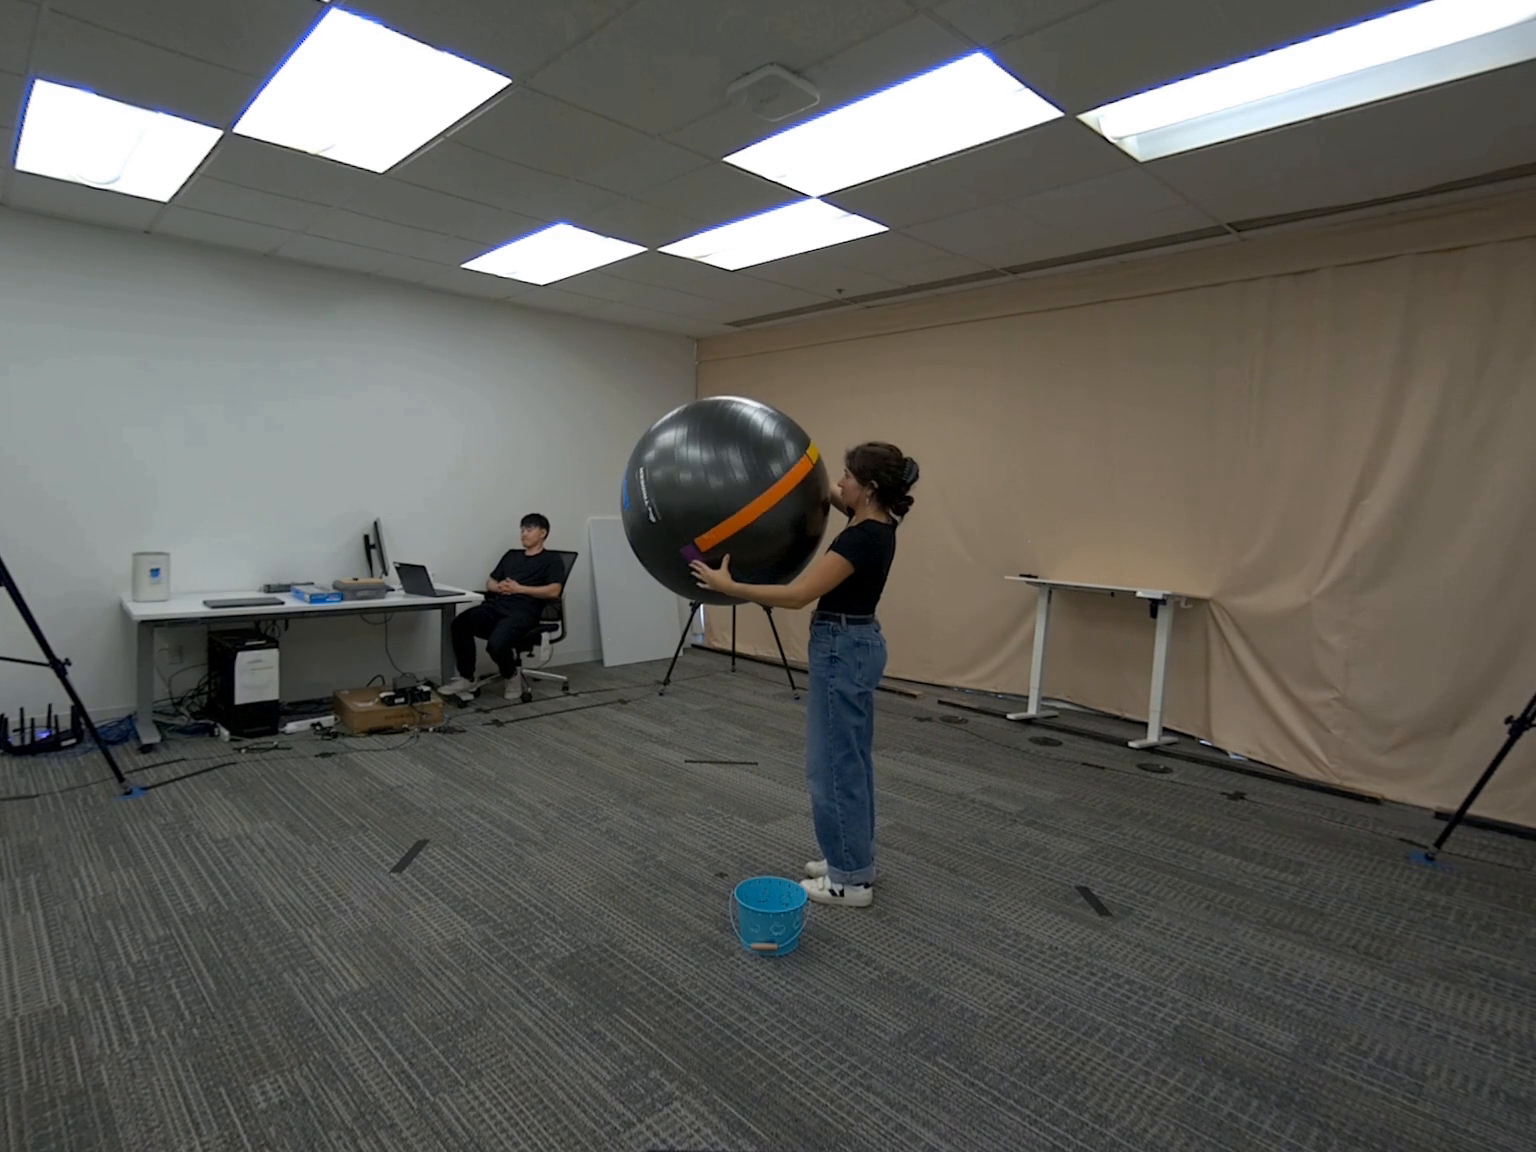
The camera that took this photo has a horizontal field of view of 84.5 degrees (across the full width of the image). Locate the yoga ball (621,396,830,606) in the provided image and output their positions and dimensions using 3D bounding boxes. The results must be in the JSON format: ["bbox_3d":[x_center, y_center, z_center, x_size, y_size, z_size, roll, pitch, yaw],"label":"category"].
[{"bbox_3d":[-0.159,-0.269,3.057,0.757,0.756,0.761,1,4,-1],"label":"yoga ball"}]
